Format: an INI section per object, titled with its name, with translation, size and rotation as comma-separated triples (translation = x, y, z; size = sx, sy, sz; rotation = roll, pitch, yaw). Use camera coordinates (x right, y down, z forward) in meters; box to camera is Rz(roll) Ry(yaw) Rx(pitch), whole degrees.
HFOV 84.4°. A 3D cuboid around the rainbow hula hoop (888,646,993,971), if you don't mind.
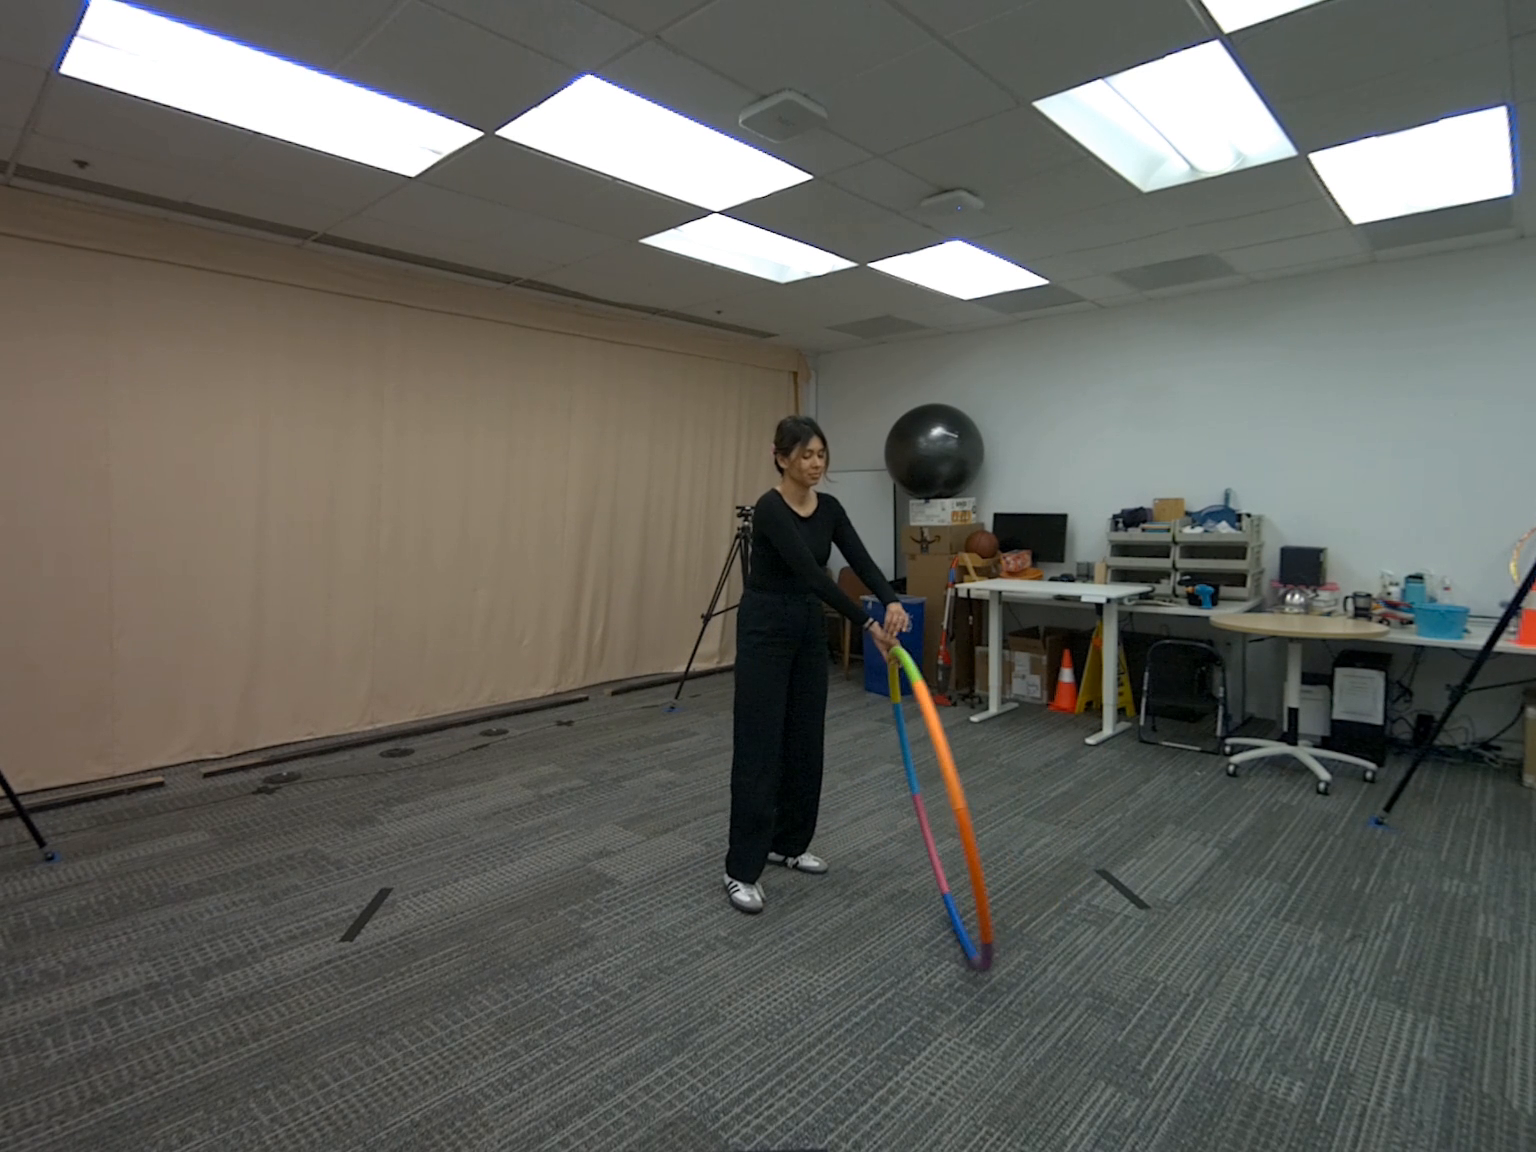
[rainbow hula hoop]
translation = 0.529, 0.700, 2.632
size = 0.035, 0.976, 0.980
rotation = -14, 3, 0
